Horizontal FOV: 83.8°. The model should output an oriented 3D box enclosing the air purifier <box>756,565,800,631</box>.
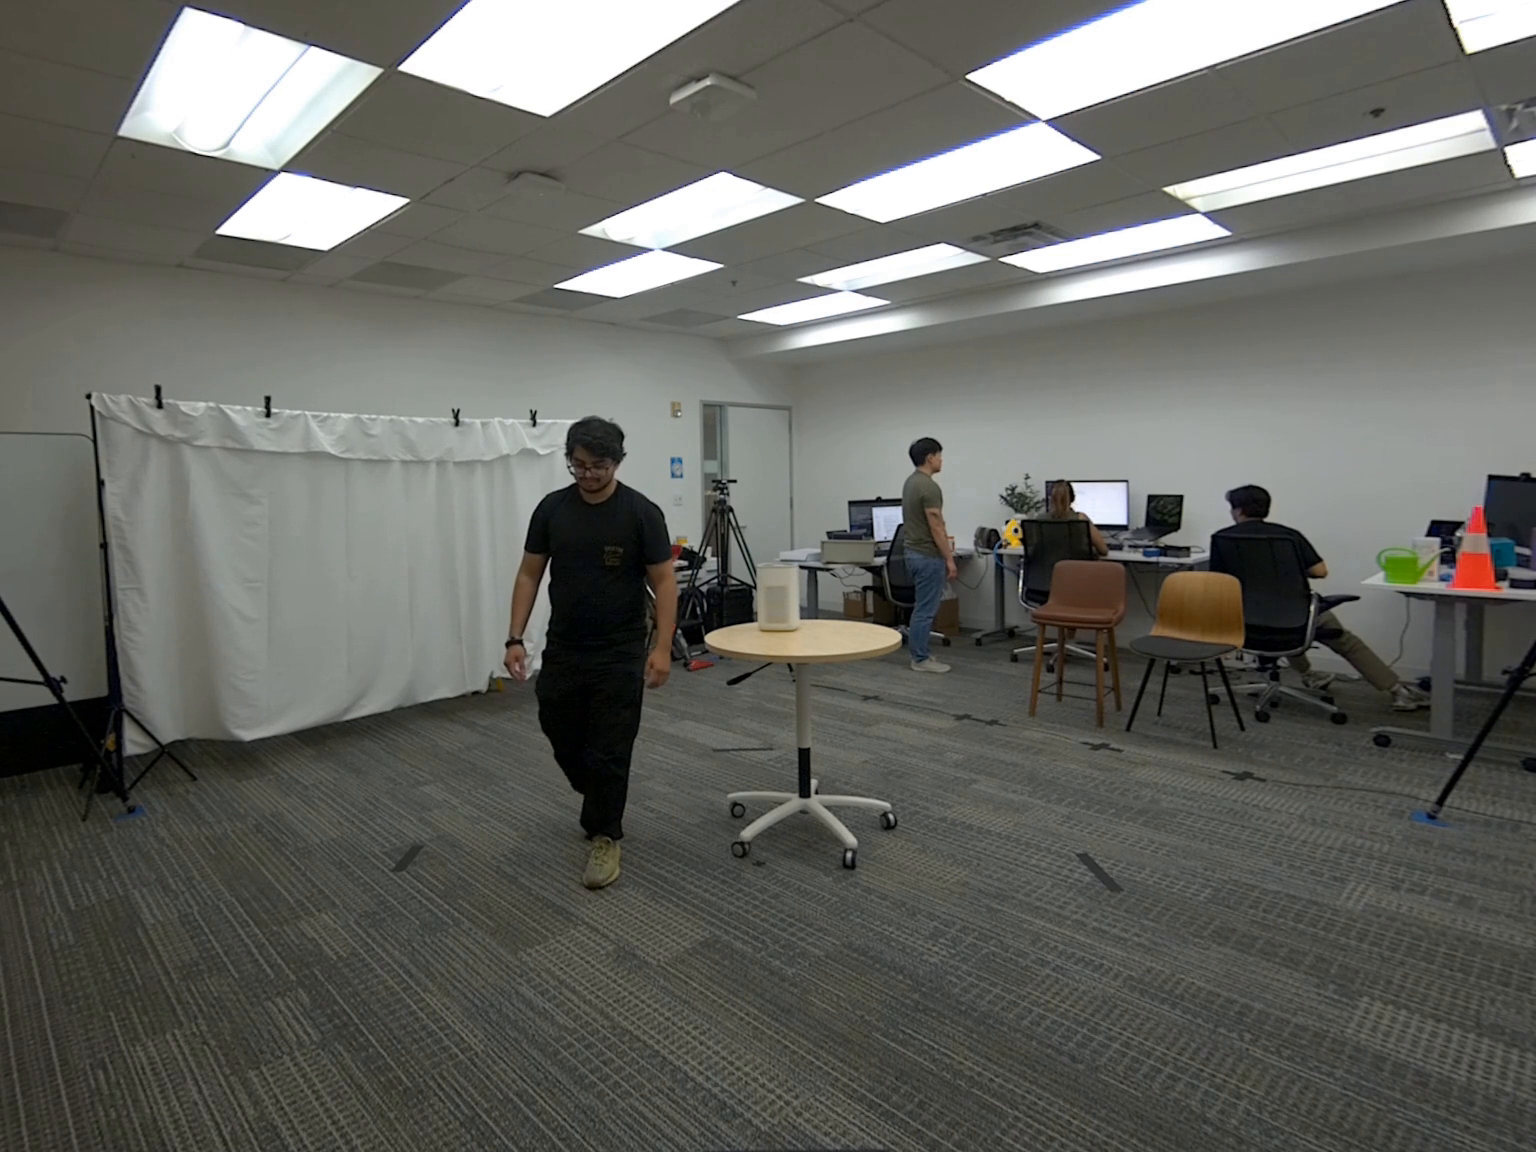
[{"bbox_3d":[0.047,0.082,3.512,0.173,0.264,0.170,0,4,8],"label":"air purifier"}]
